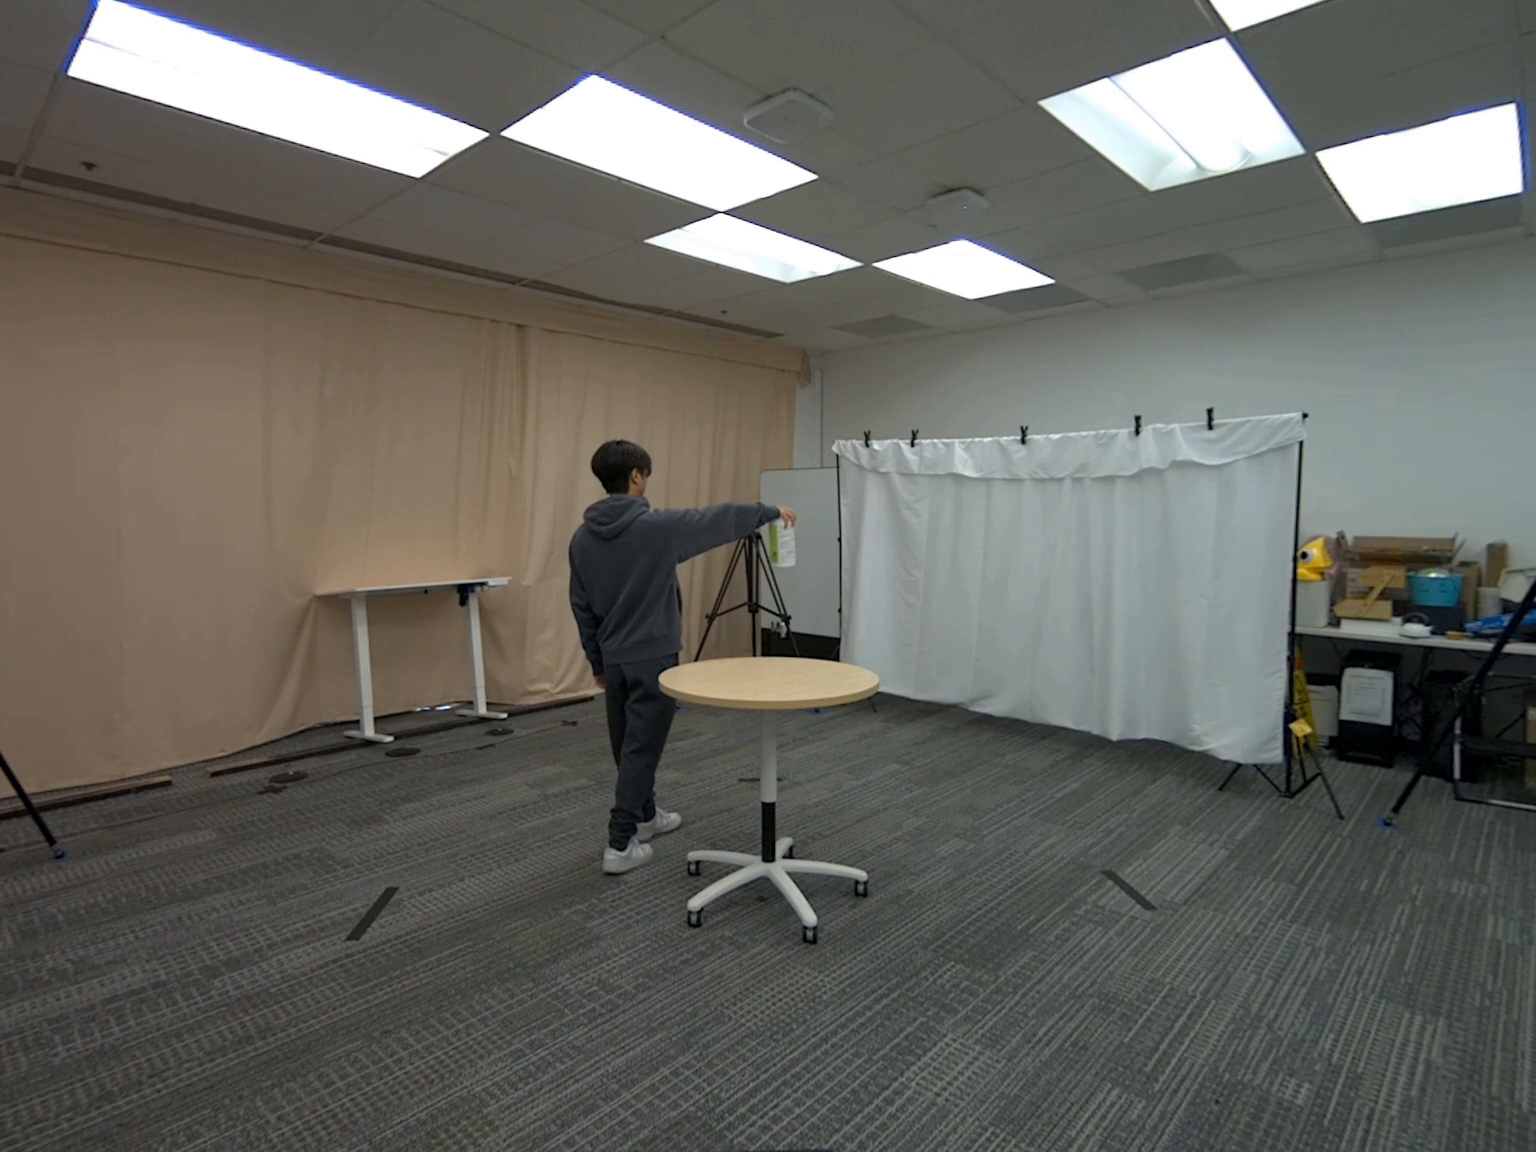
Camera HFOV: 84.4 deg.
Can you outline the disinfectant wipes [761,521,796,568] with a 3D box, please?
[{"bbox_3d":[0.063,-0.150,3.614,0.118,0.216,0.118,-3,9,-1],"label":"disinfectant wipes"}]
